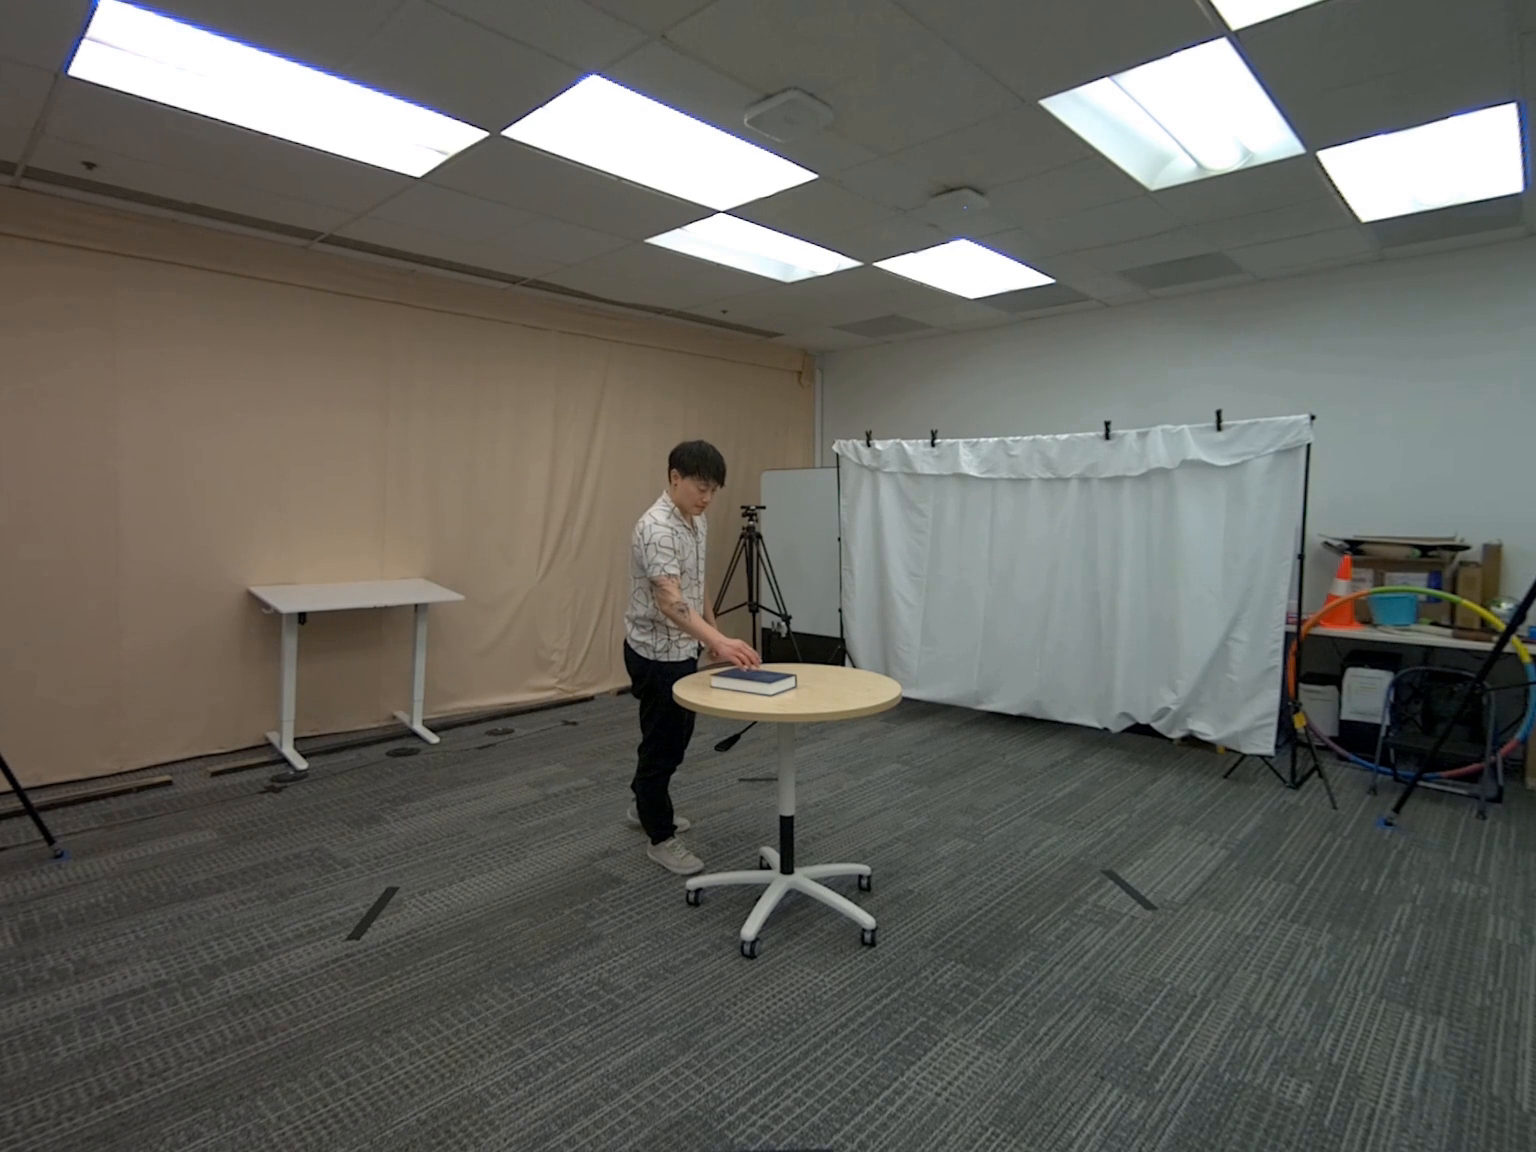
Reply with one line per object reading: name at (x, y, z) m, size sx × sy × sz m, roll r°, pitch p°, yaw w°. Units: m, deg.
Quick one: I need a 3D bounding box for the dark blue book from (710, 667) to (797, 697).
dark blue book at (-0.053, 0.351, 2.809) m, size 0.253 × 0.045 × 0.159 m, roll 3°, pitch 6°, yaw 34°
